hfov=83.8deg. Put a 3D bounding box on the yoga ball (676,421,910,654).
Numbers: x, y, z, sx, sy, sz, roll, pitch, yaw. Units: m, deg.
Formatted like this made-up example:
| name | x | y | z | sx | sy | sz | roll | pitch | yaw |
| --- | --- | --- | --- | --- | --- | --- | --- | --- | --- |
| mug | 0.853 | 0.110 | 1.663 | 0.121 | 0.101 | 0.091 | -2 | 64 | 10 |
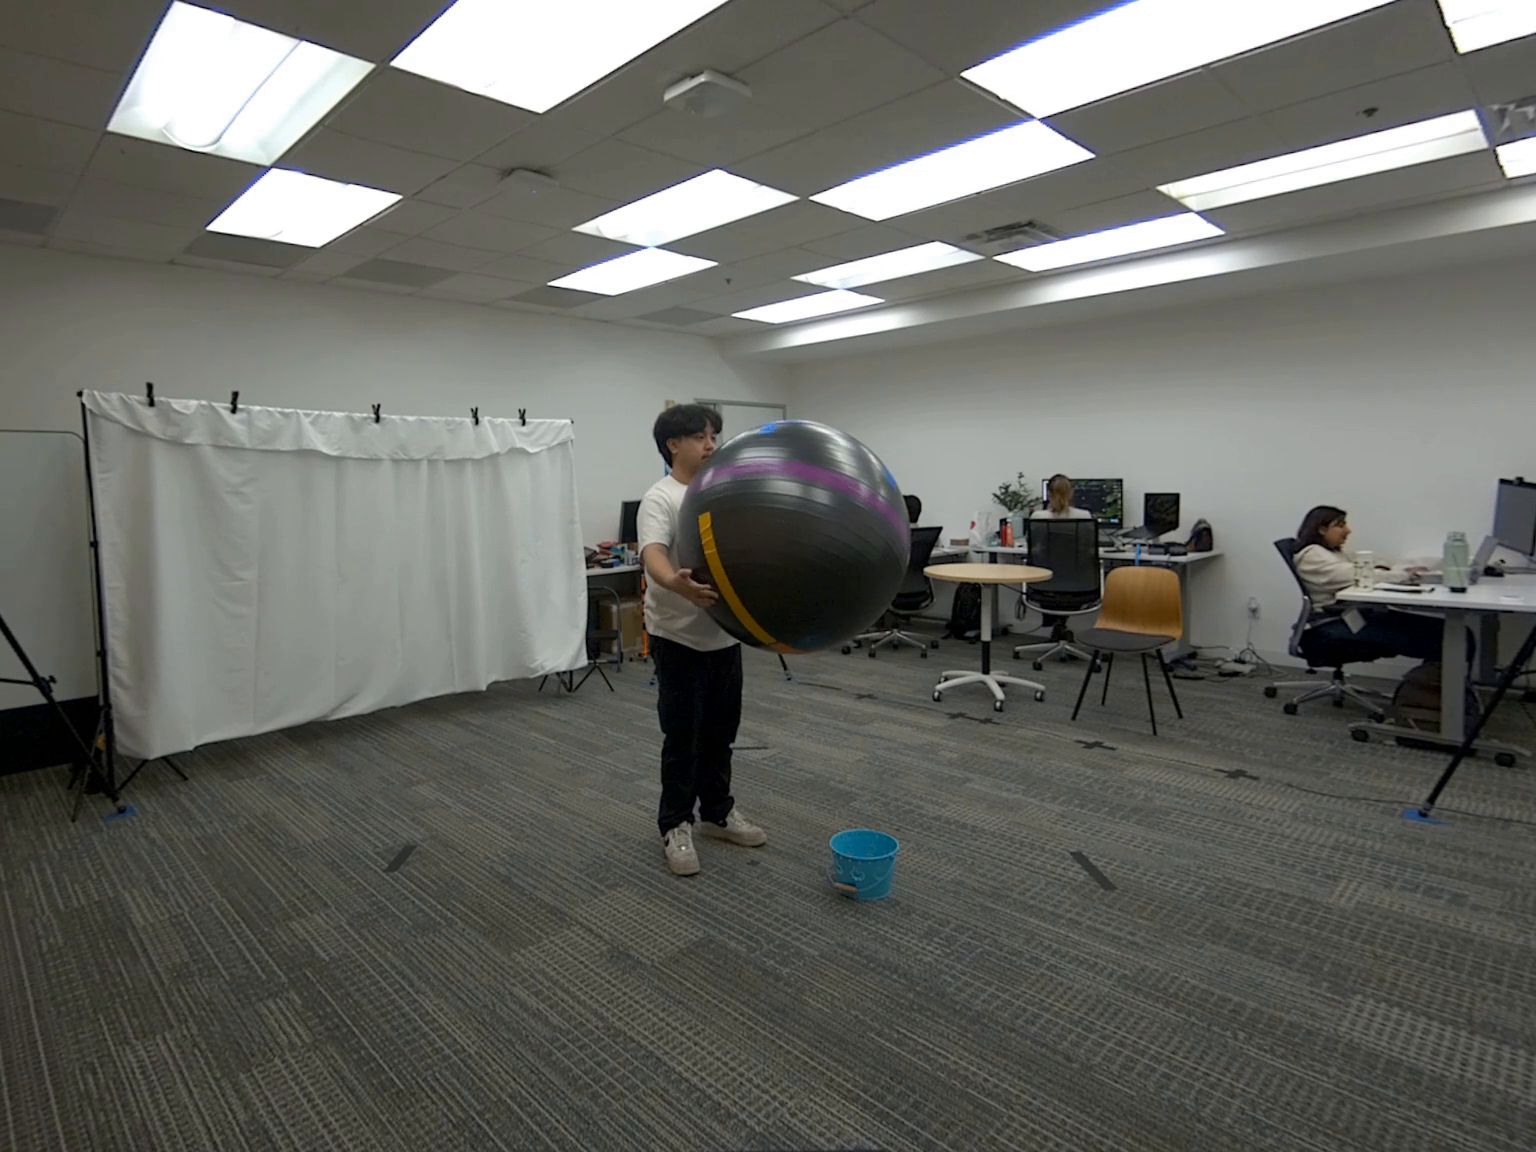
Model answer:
| name | x | y | z | sx | sy | sz | roll | pitch | yaw |
| --- | --- | --- | --- | --- | --- | --- | --- | --- | --- |
| yoga ball | 0.083 | -0.121 | 2.783 | 0.757 | 0.755 | 0.762 | -1 | 5 | -2 |
